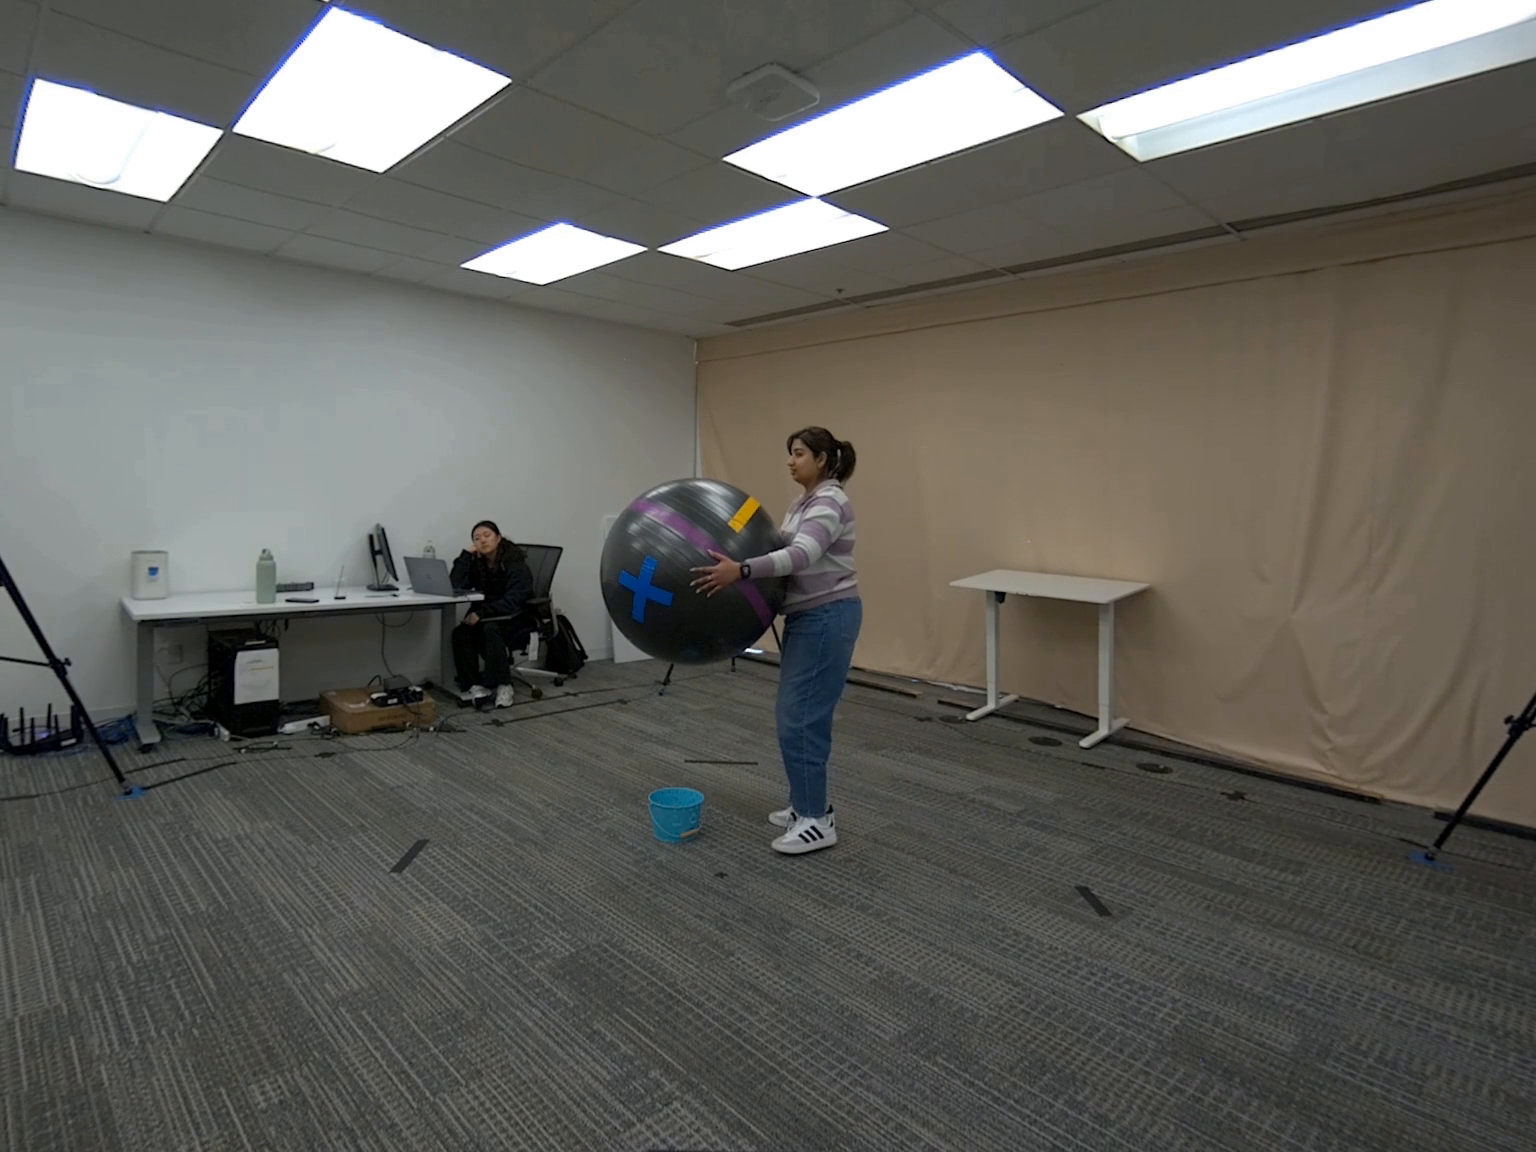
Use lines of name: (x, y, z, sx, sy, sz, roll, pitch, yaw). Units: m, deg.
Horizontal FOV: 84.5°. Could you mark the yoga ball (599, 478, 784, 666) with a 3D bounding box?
yoga ball: (-0.314, -0.017, 3.421, 0.757, 0.756, 0.761, 1, 4, -1)
